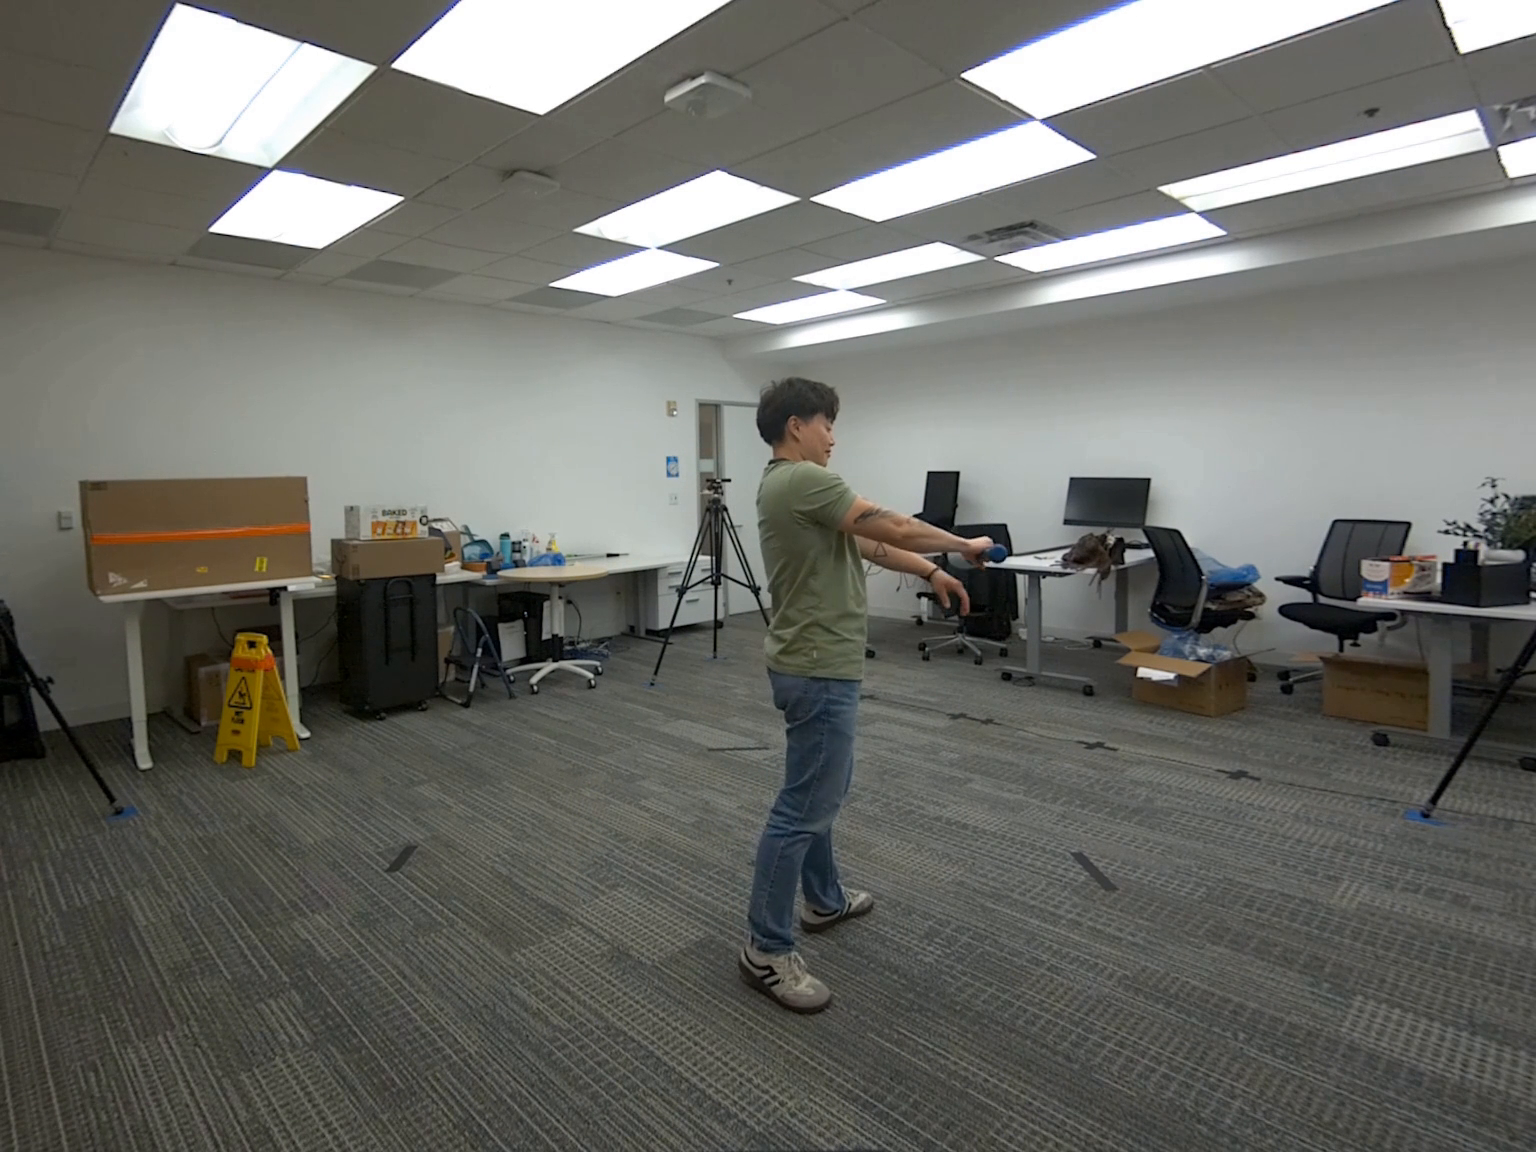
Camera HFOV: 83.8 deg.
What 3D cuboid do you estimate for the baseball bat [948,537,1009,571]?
[{"bbox_3d":[0.618,-0.060,2.535,0.089,0.089,0.541,-1,1,2],"label":"baseball bat"}]
